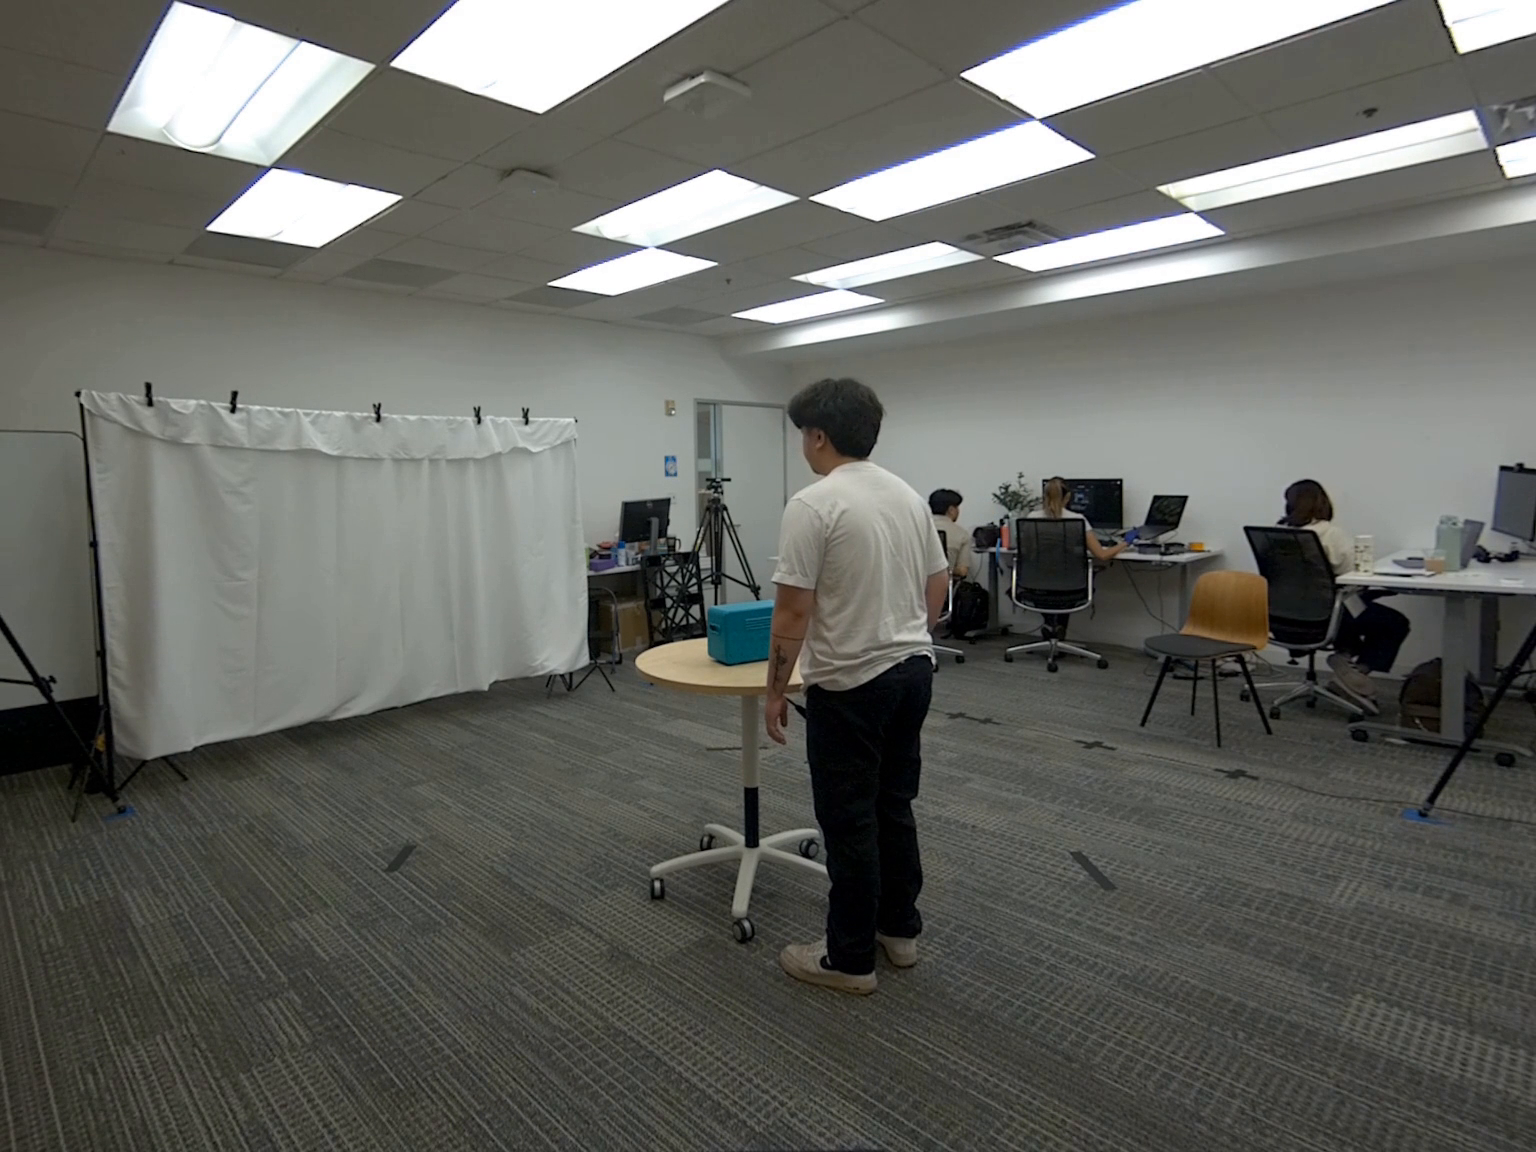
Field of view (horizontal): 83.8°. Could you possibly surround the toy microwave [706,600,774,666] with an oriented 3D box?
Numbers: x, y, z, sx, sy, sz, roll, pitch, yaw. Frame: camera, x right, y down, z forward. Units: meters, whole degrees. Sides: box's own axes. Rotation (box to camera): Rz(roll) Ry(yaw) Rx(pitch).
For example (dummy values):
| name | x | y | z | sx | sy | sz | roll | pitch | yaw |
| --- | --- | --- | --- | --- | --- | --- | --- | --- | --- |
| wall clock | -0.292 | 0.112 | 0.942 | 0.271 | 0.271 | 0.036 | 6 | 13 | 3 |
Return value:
| name | x | y | z | sx | sy | sz | roll | pitch | yaw |
| --- | --- | --- | --- | --- | --- | --- | --- | --- | --- |
| toy microwave | -0.056 | 0.184 | 2.870 | 0.279 | 0.183 | 0.157 | -5 | 6 | -31 |
